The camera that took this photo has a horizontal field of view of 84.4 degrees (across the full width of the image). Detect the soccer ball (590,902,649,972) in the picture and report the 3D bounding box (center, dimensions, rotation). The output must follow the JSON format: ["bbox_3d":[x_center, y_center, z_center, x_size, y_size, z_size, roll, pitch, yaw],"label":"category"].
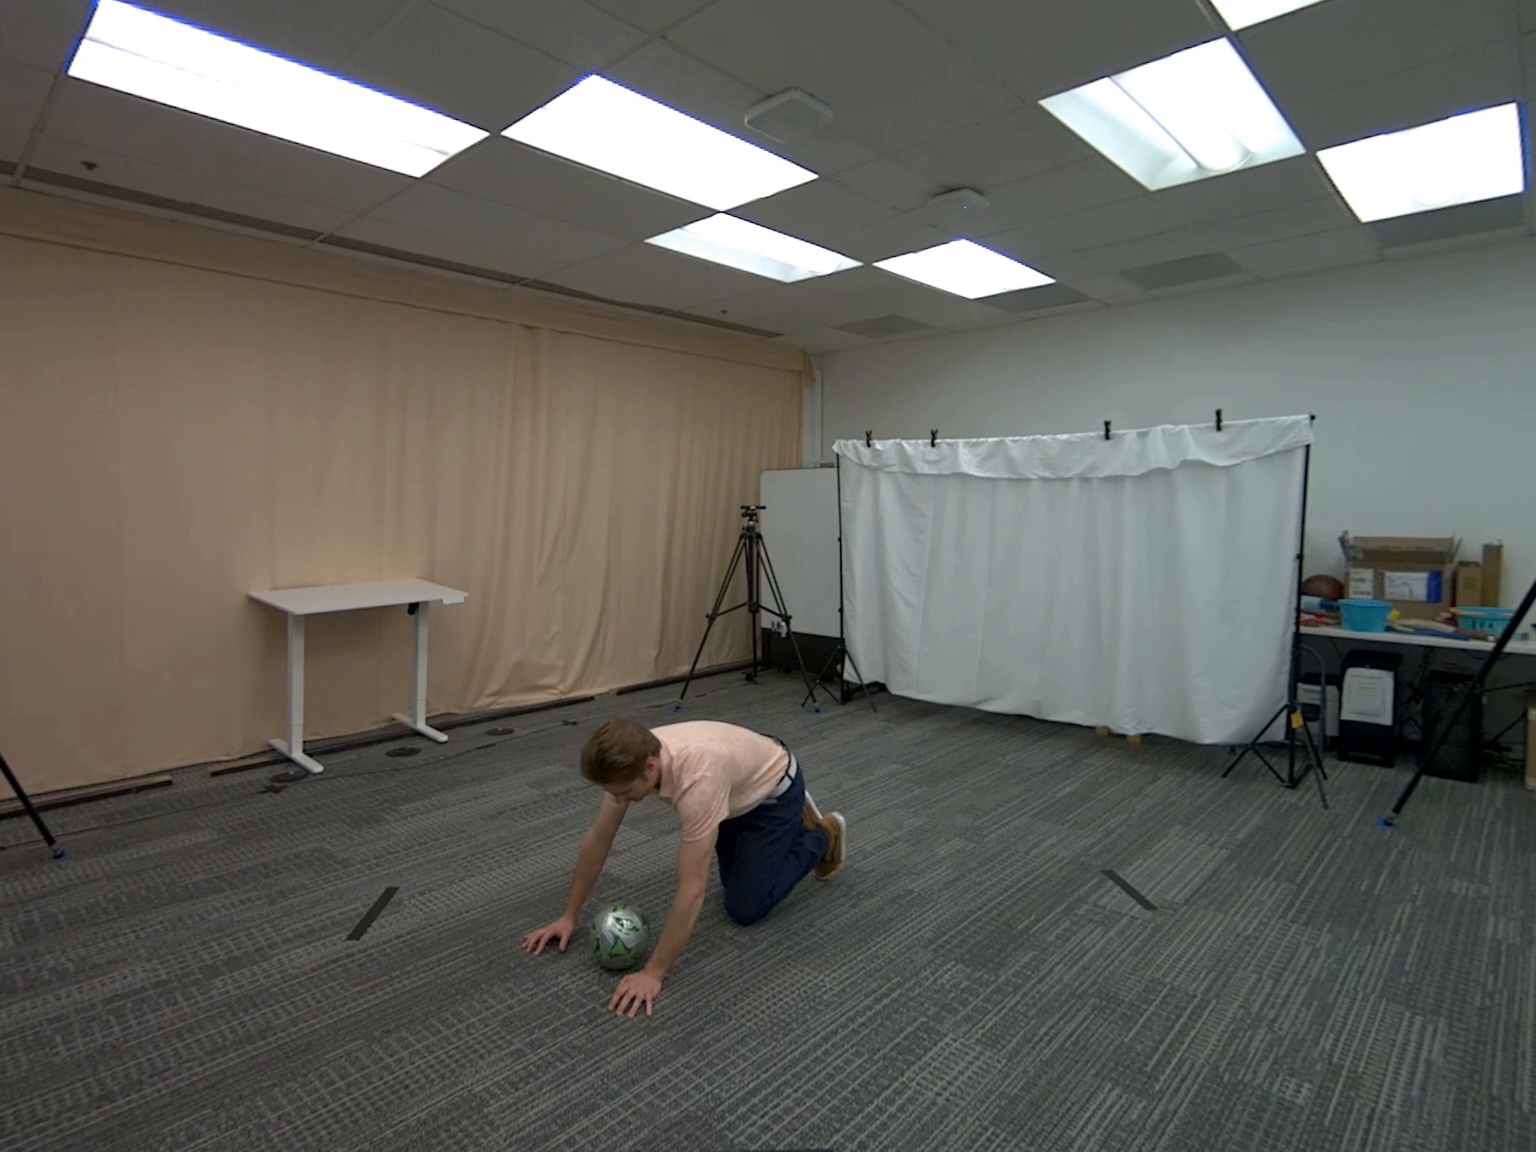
[{"bbox_3d":[-0.451,1.096,2.549,0.187,0.187,0.188,0,4,-2],"label":"soccer ball"}]
